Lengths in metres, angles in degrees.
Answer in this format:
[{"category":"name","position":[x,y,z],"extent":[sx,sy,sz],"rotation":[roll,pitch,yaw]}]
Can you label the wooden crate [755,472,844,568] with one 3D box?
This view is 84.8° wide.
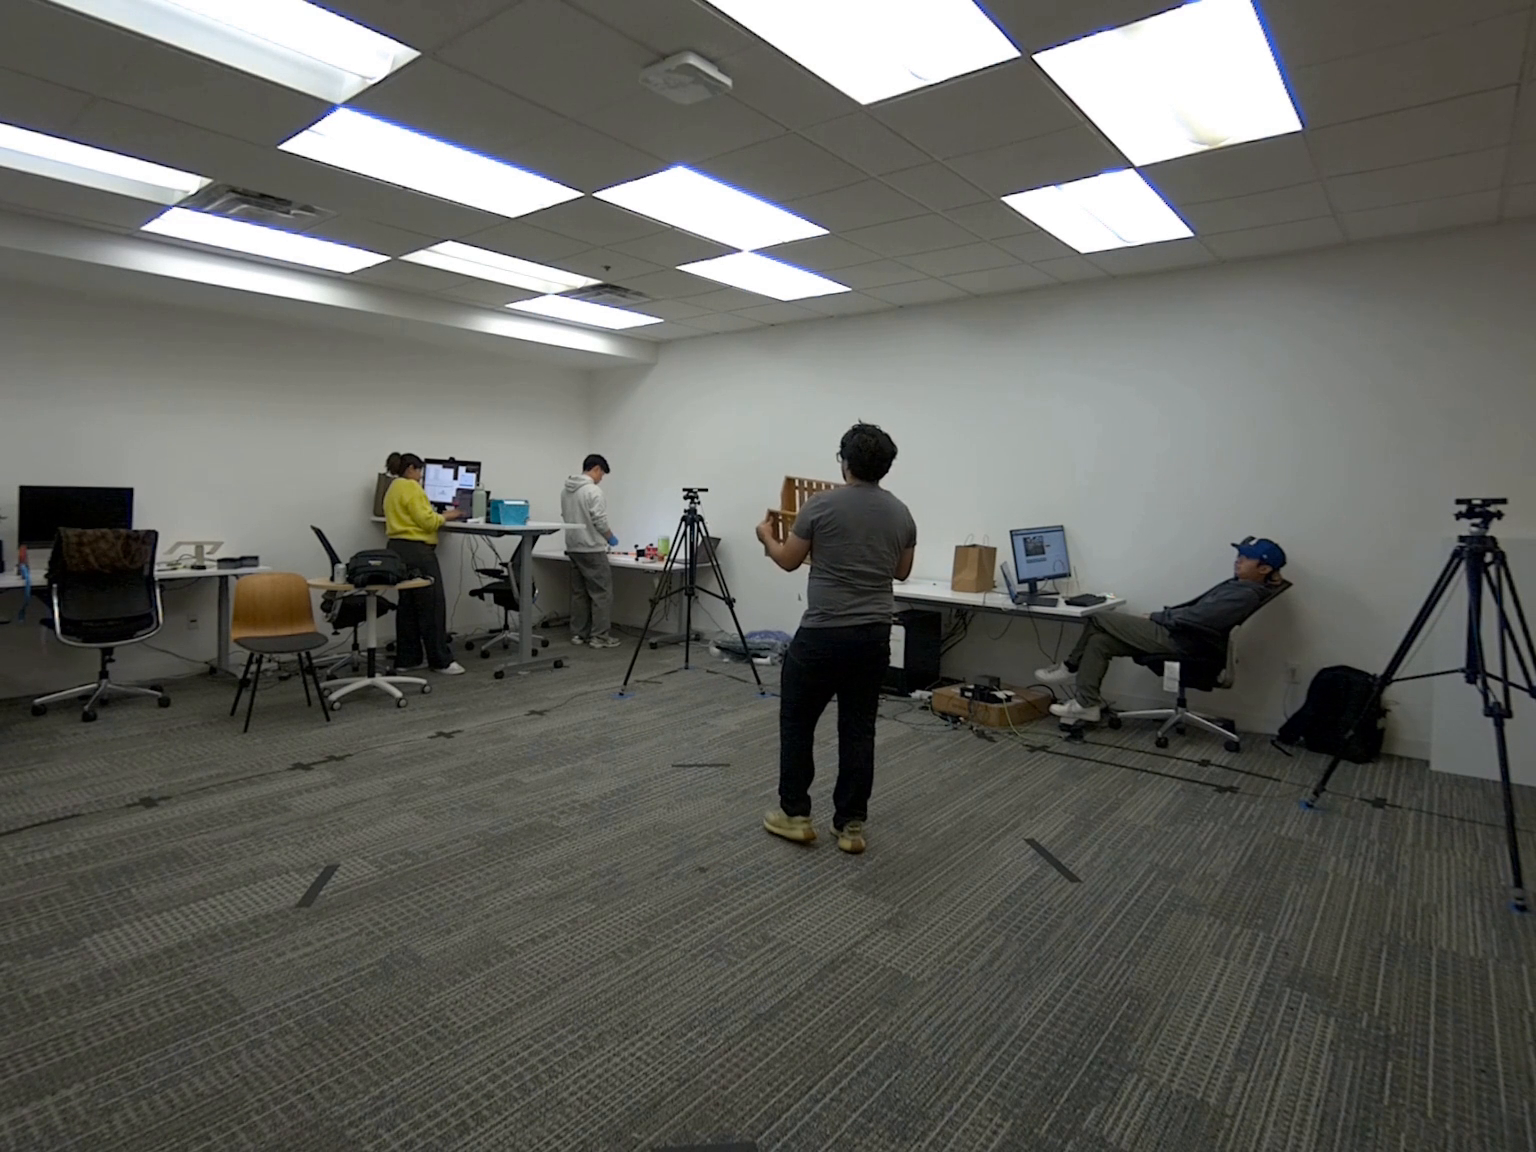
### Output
[{"category":"wooden crate","position":[0.160,-0.247,3.673],"extent":[0.335,0.294,0.271],"rotation":[11,31,29]}]
